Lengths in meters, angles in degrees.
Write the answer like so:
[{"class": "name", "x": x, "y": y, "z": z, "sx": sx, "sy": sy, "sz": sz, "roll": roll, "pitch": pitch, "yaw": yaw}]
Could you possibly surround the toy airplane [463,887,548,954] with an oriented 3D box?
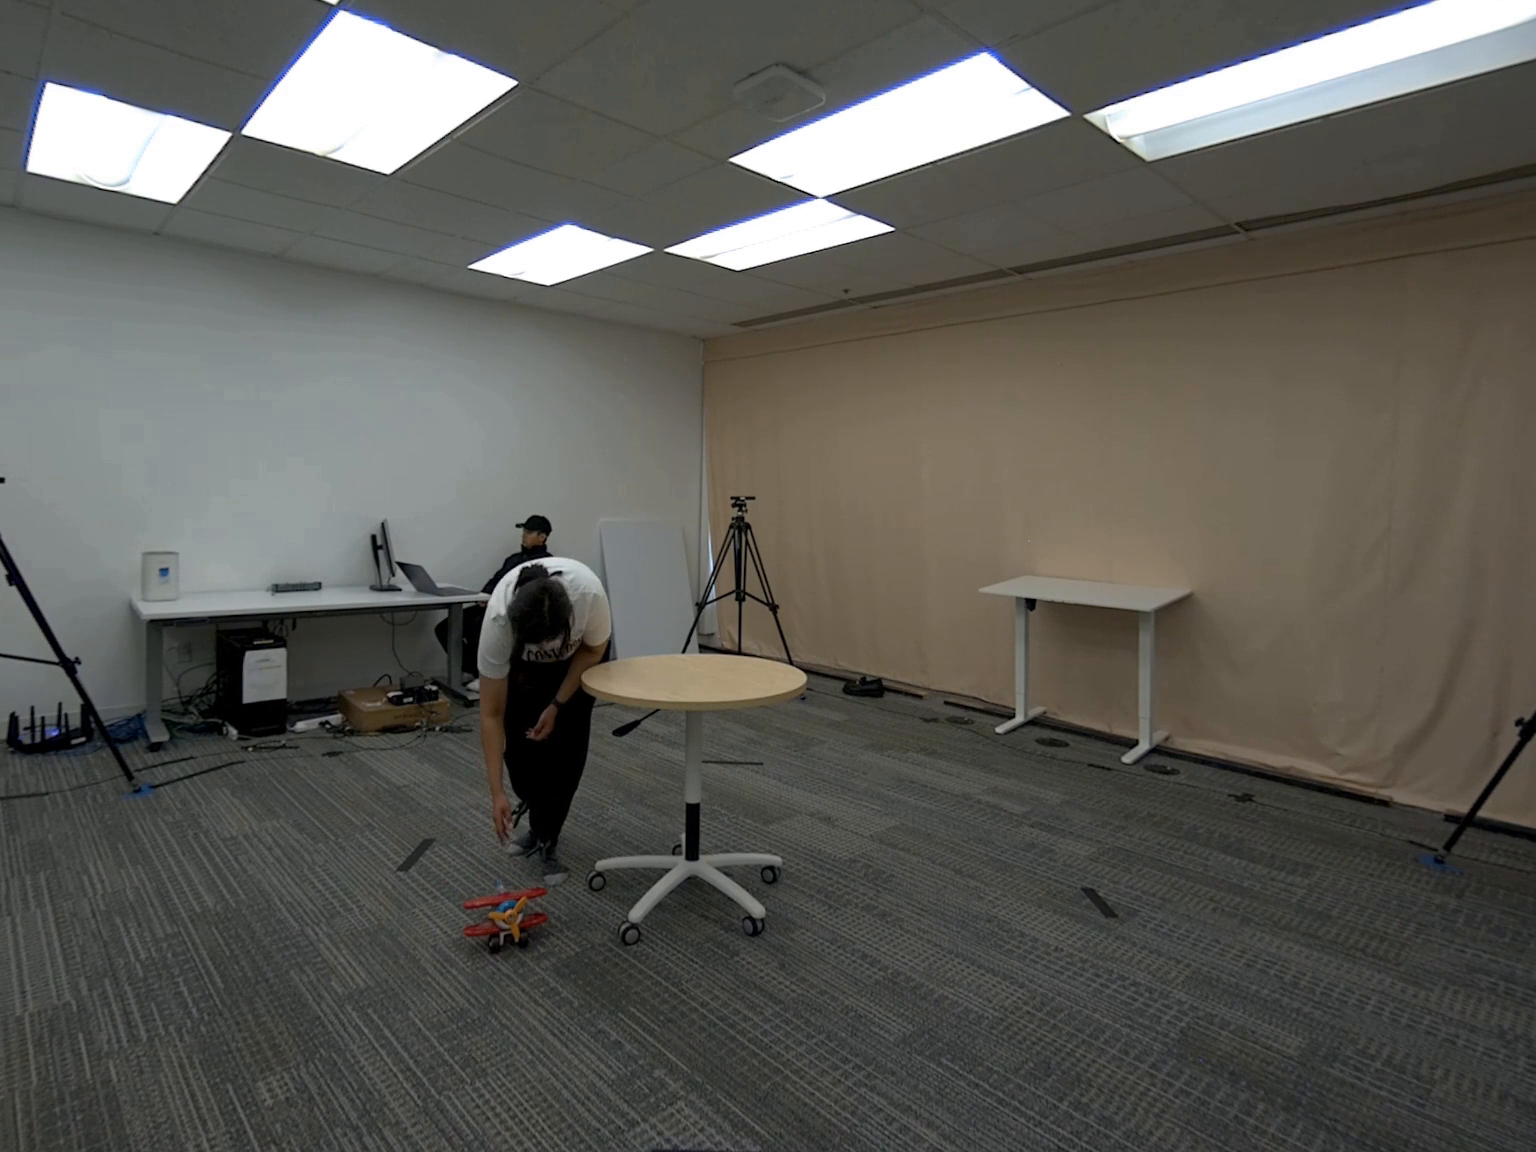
[{"class": "toy airplane", "x": -0.856, "y": 1.065, "z": 2.624, "sx": 0.266, "sy": 0.155, "sz": 0.246, "roll": 8, "pitch": 10, "yaw": 37}]
